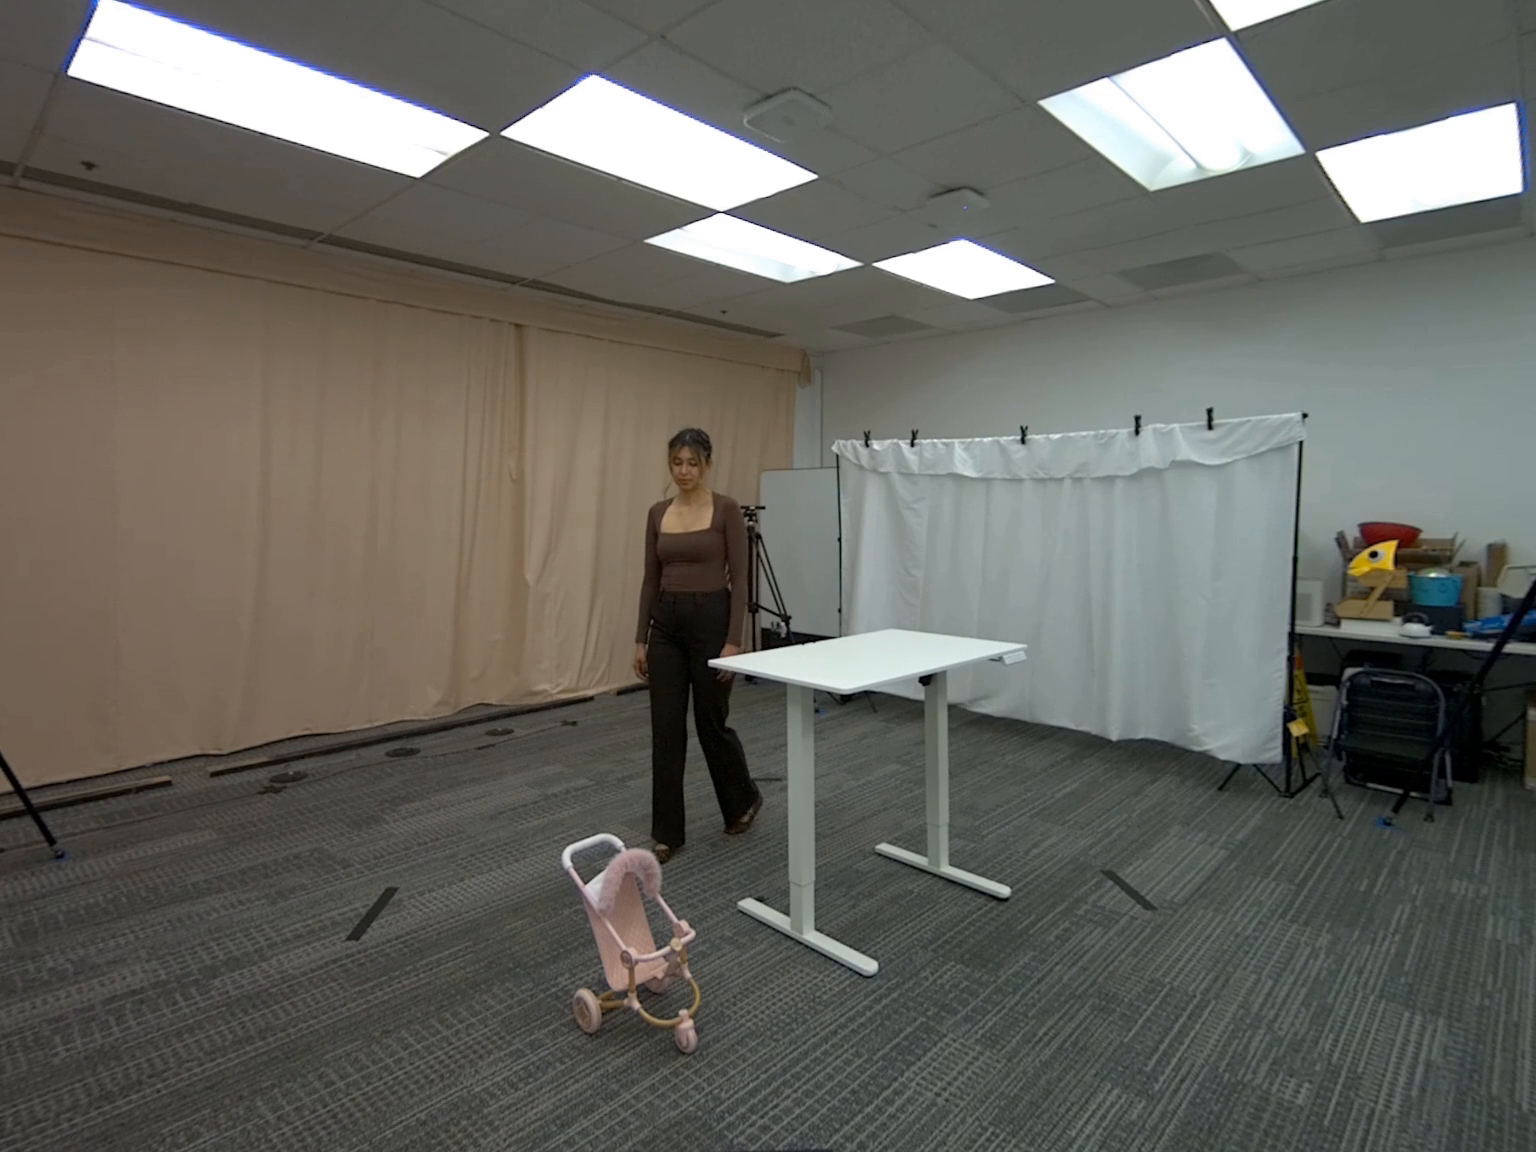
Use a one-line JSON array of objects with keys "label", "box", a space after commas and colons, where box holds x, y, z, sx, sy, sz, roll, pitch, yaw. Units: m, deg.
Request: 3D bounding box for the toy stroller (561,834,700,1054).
[{"label": "toy stroller", "box": [-0.355, 0.977, 2.272, 0.273, 0.539, 0.349, -3, -11, -45]}]
